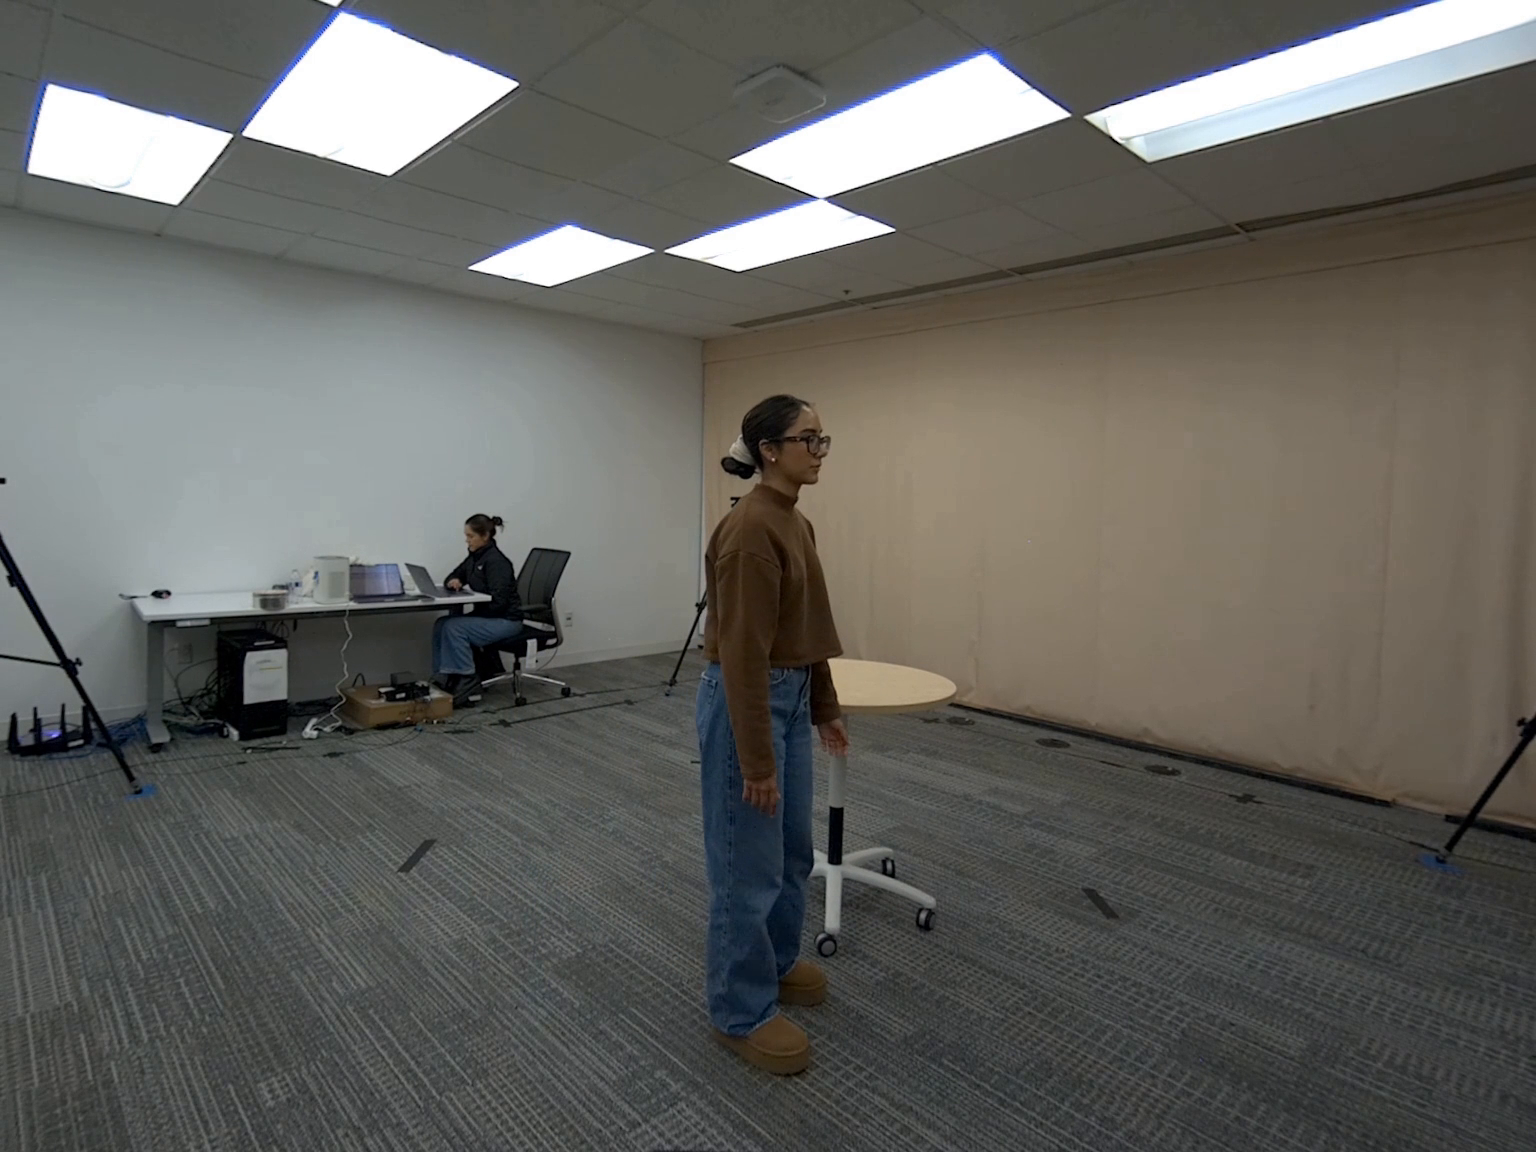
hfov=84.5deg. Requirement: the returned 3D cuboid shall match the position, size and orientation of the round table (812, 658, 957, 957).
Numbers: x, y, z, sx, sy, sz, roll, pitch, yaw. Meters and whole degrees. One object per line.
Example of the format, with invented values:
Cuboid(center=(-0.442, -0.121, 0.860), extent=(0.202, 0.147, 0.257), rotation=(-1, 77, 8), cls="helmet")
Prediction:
Cuboid(center=(0.229, 0.739, 2.913), extent=(0.784, 0.784, 0.788), rotation=(2, 4, -2), cls="round table")
